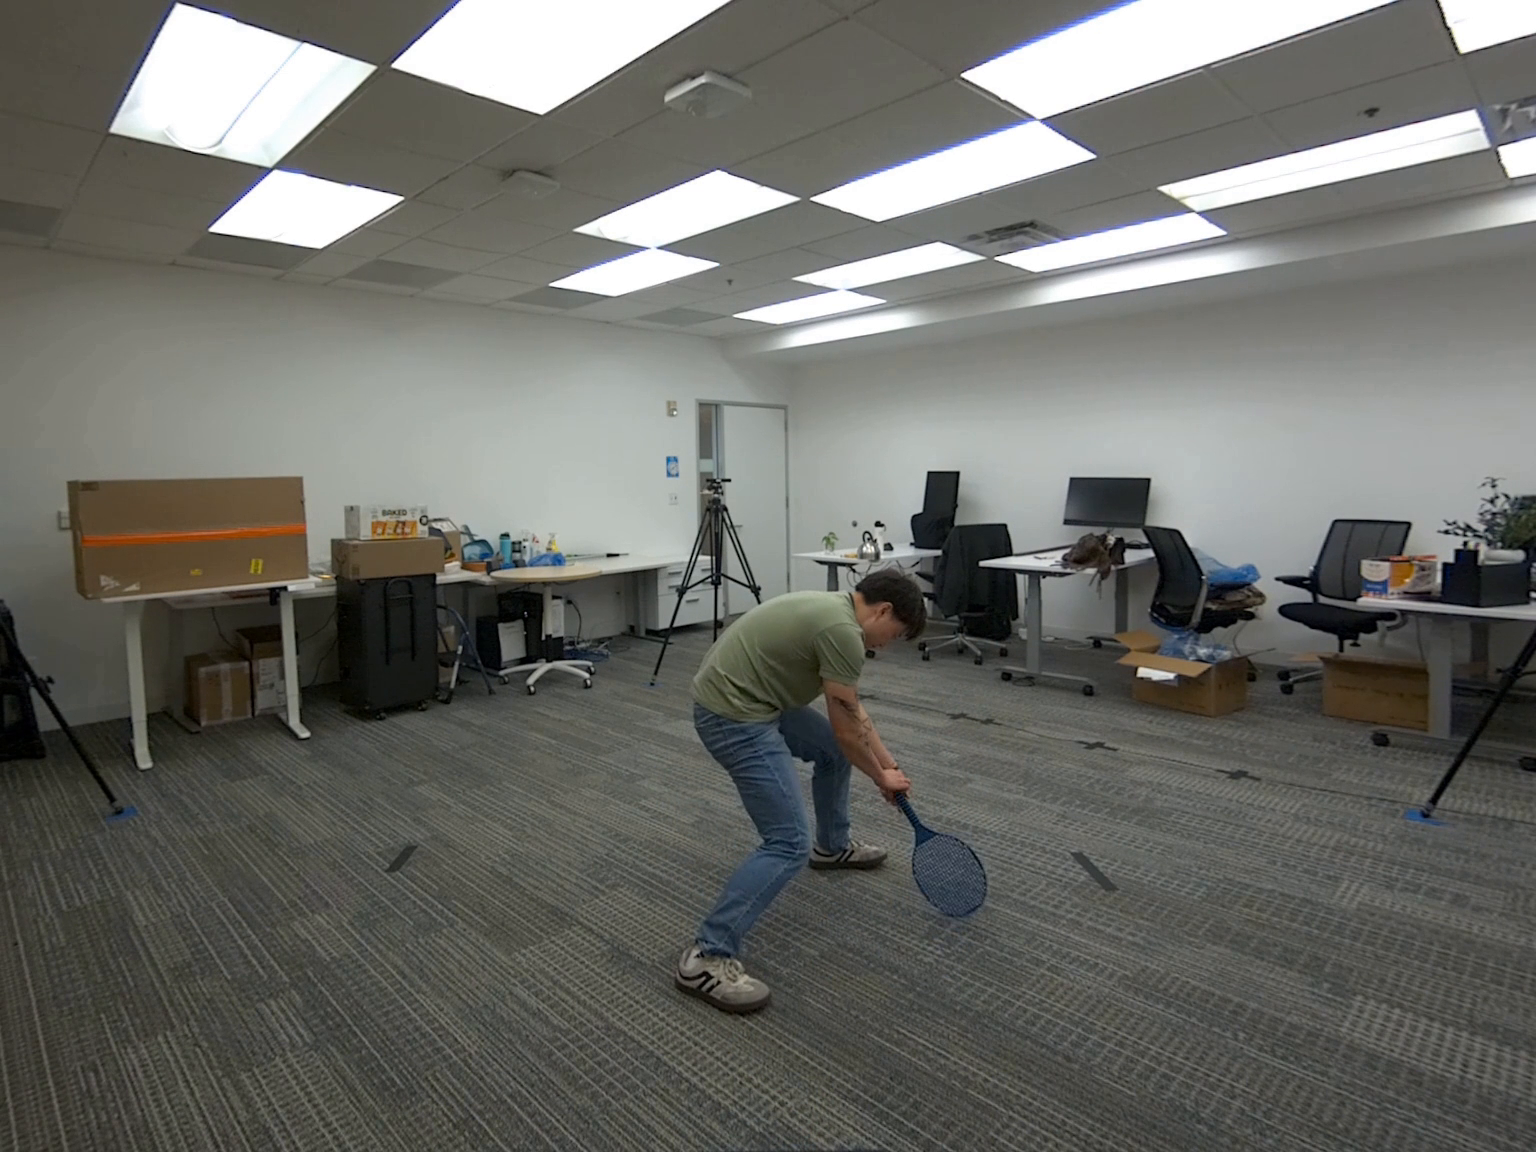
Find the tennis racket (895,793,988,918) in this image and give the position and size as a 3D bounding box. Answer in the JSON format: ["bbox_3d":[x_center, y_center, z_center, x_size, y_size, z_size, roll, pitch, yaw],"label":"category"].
[{"bbox_3d":[0.534,0.883,2.736,0.214,0.438,0.031,-33,-8,7],"label":"tennis racket"}]
